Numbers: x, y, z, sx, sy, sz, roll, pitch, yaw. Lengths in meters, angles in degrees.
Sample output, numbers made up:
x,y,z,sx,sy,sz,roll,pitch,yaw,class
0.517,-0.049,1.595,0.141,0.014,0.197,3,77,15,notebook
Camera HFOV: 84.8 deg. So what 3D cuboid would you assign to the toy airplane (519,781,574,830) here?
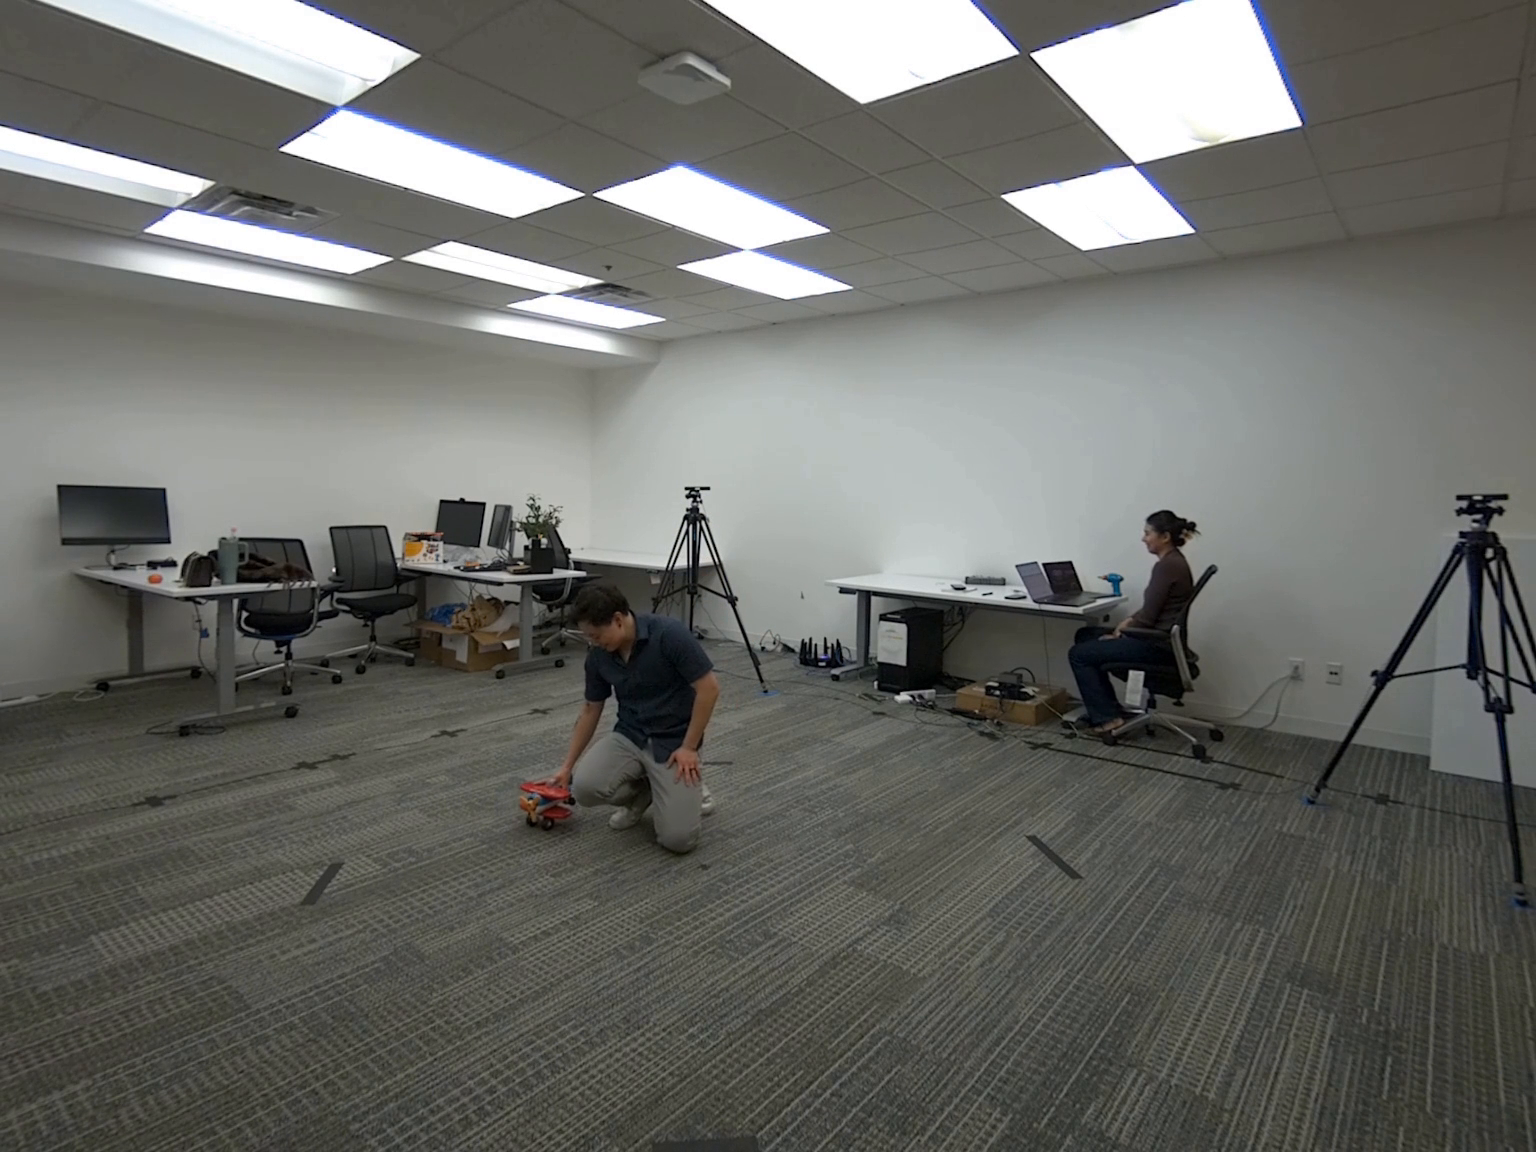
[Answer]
x,y,z,sx,sy,sz,roll,pitch,yaw,class
-0.926,0.924,3.528,0.252,0.154,0.262,-7,16,3,toy airplane
